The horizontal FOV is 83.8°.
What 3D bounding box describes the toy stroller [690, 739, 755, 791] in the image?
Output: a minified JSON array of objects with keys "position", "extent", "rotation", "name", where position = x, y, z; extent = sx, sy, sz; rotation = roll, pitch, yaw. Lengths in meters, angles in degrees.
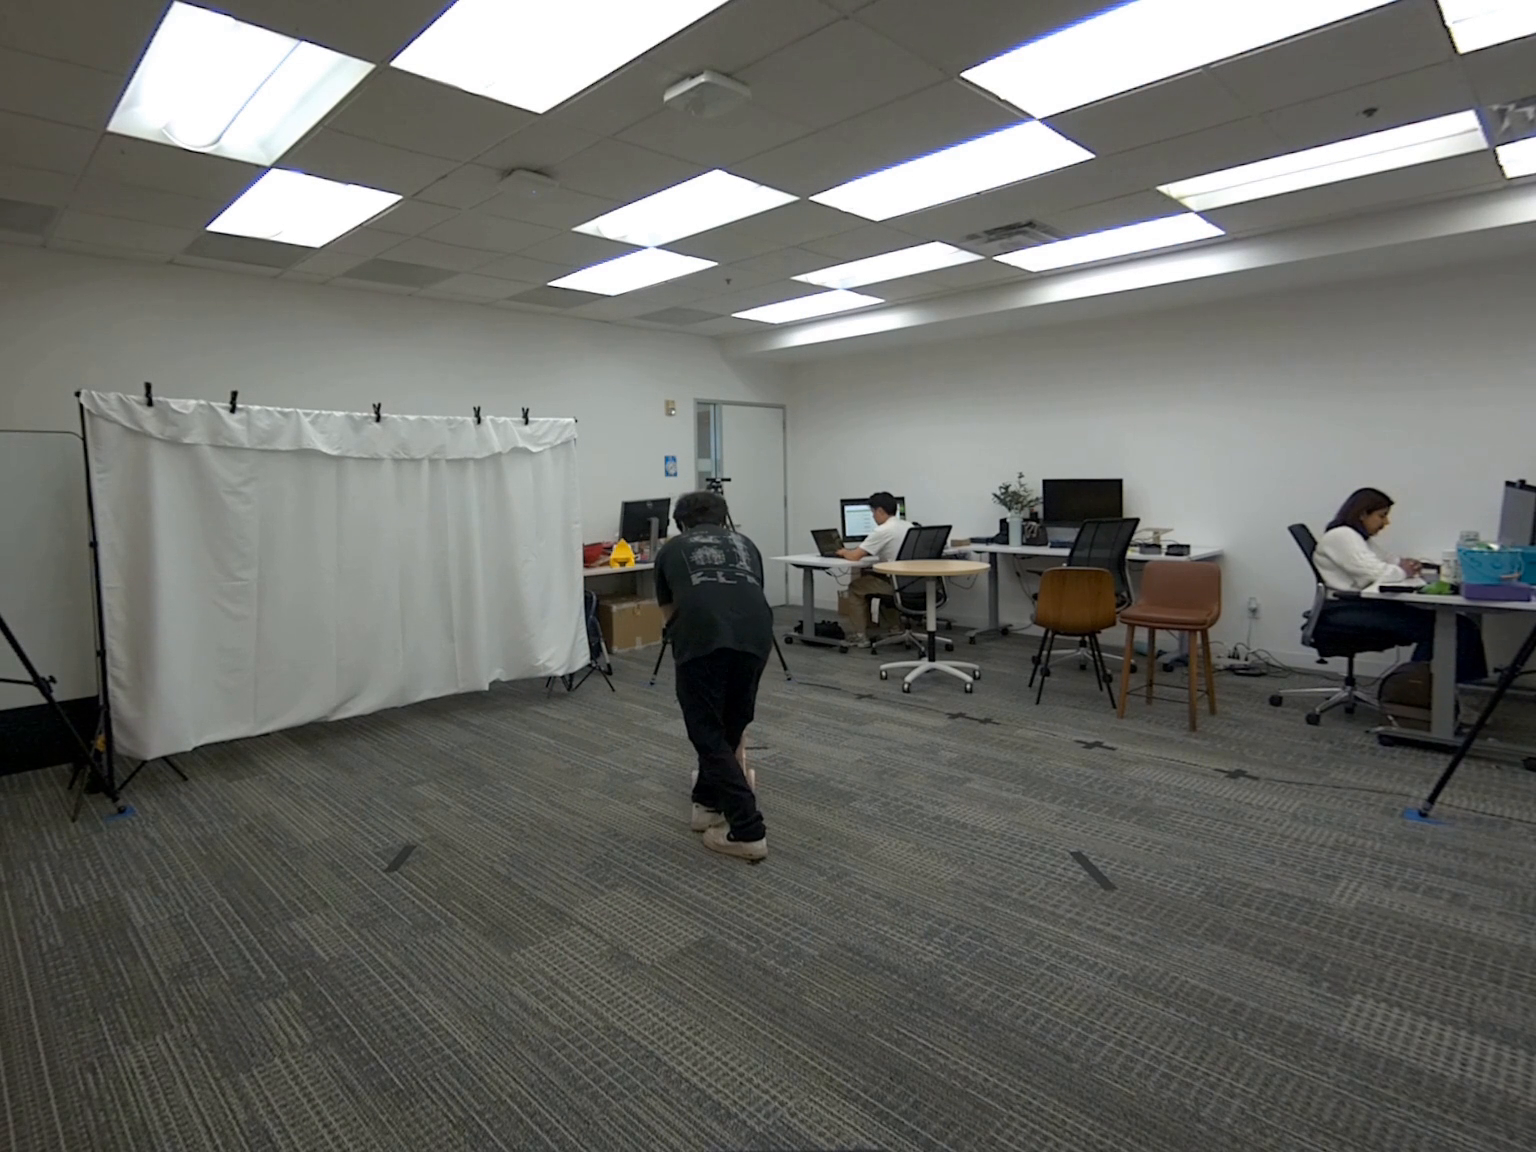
[{"position":[-0.193,0.741,3.836],"extent":[0.282,0.525,0.346],"rotation":[0,20,2],"name":"toy stroller"}]
